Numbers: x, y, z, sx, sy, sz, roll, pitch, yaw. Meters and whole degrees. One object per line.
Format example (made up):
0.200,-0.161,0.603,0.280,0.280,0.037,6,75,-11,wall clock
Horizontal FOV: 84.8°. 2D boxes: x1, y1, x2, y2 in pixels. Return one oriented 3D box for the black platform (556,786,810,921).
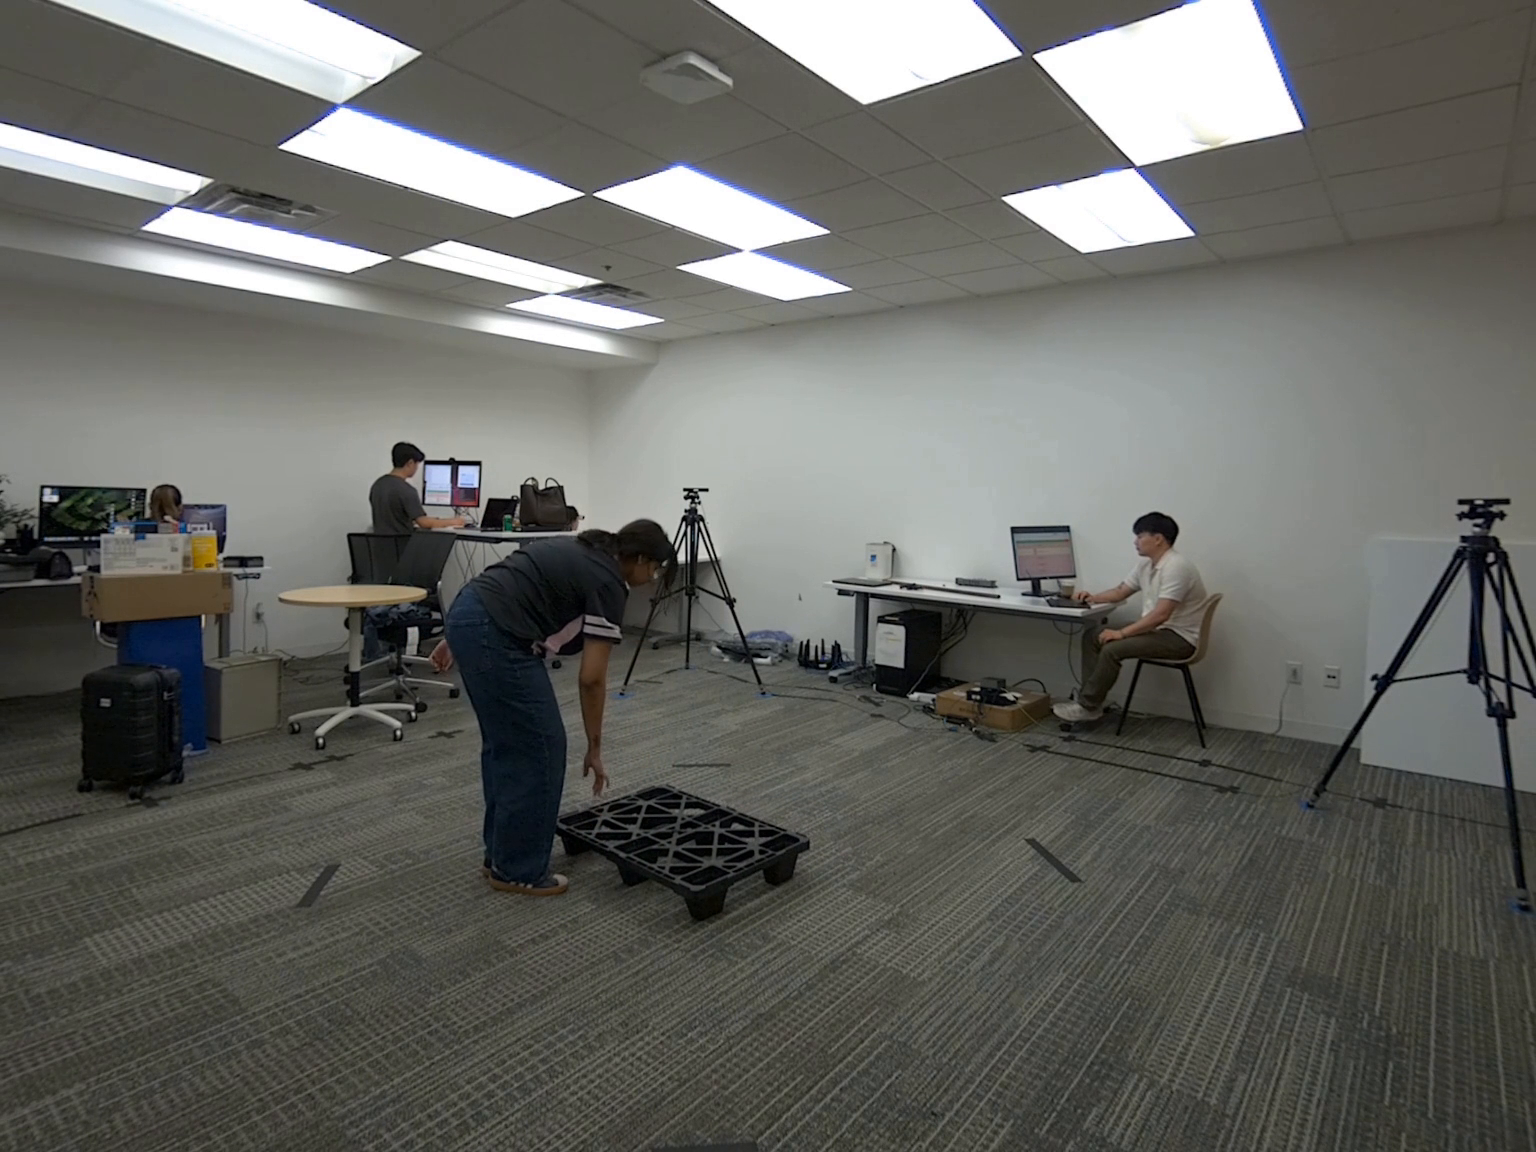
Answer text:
-0.347,0.999,3.144,0.833,0.143,0.587,6,7,42,black platform
